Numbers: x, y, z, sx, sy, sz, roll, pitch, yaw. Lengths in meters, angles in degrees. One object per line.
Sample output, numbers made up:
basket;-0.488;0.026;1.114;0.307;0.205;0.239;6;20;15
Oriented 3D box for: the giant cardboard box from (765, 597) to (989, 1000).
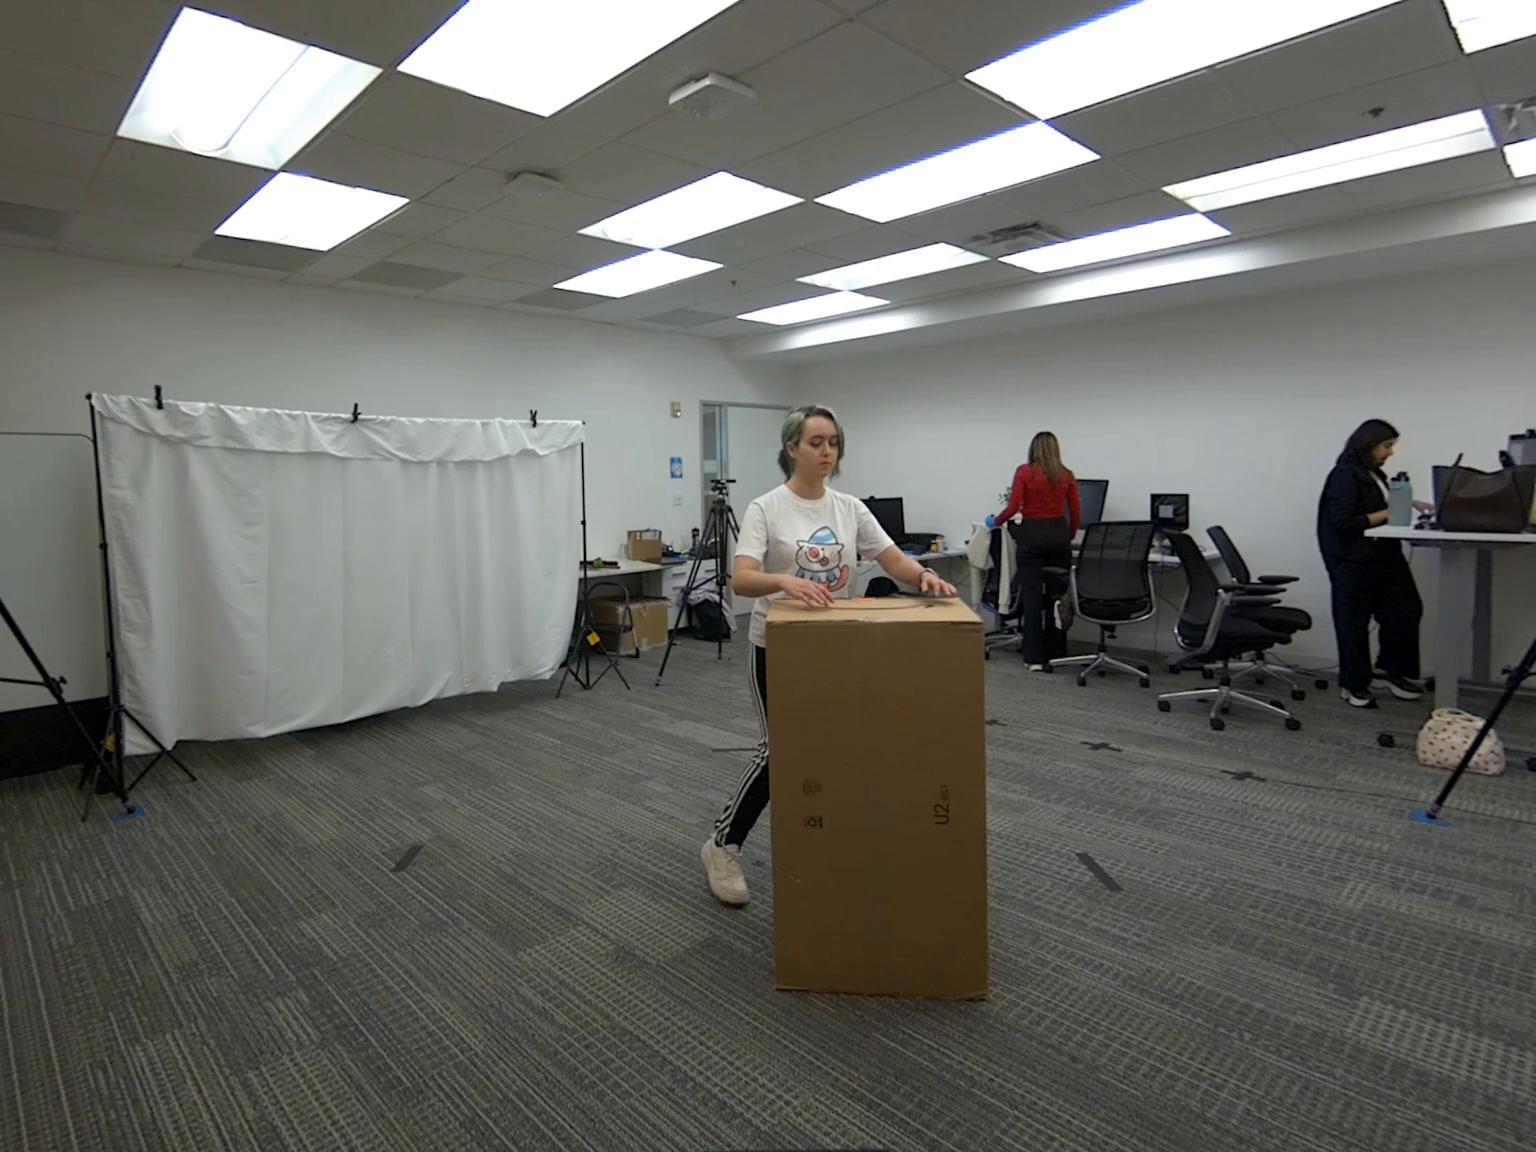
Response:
giant cardboard box;0.312;0.606;2.479;0.587;1.023;0.446;-1;4;6
